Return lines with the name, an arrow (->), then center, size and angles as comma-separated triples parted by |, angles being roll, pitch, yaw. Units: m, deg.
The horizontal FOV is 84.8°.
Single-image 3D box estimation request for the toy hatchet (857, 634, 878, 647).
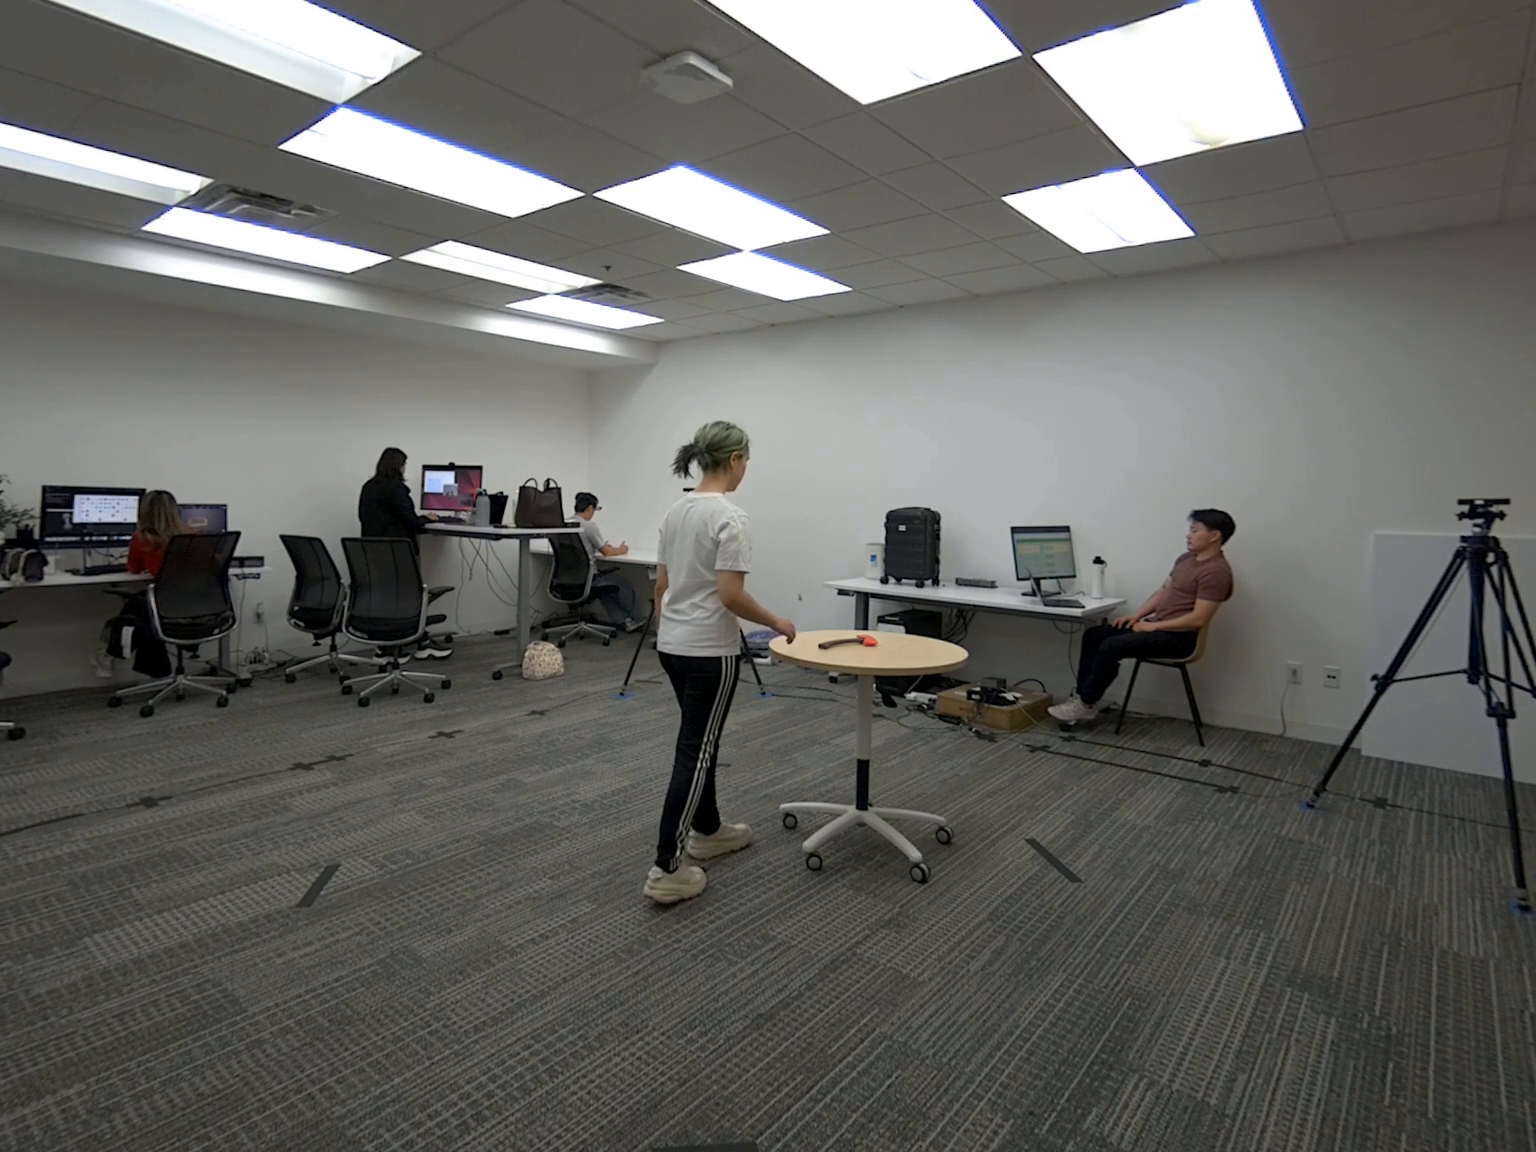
toy hatchet -> 0.315, 0.263, 3.333 | 0.136, 0.029, 0.262 | 12, 15, 43
